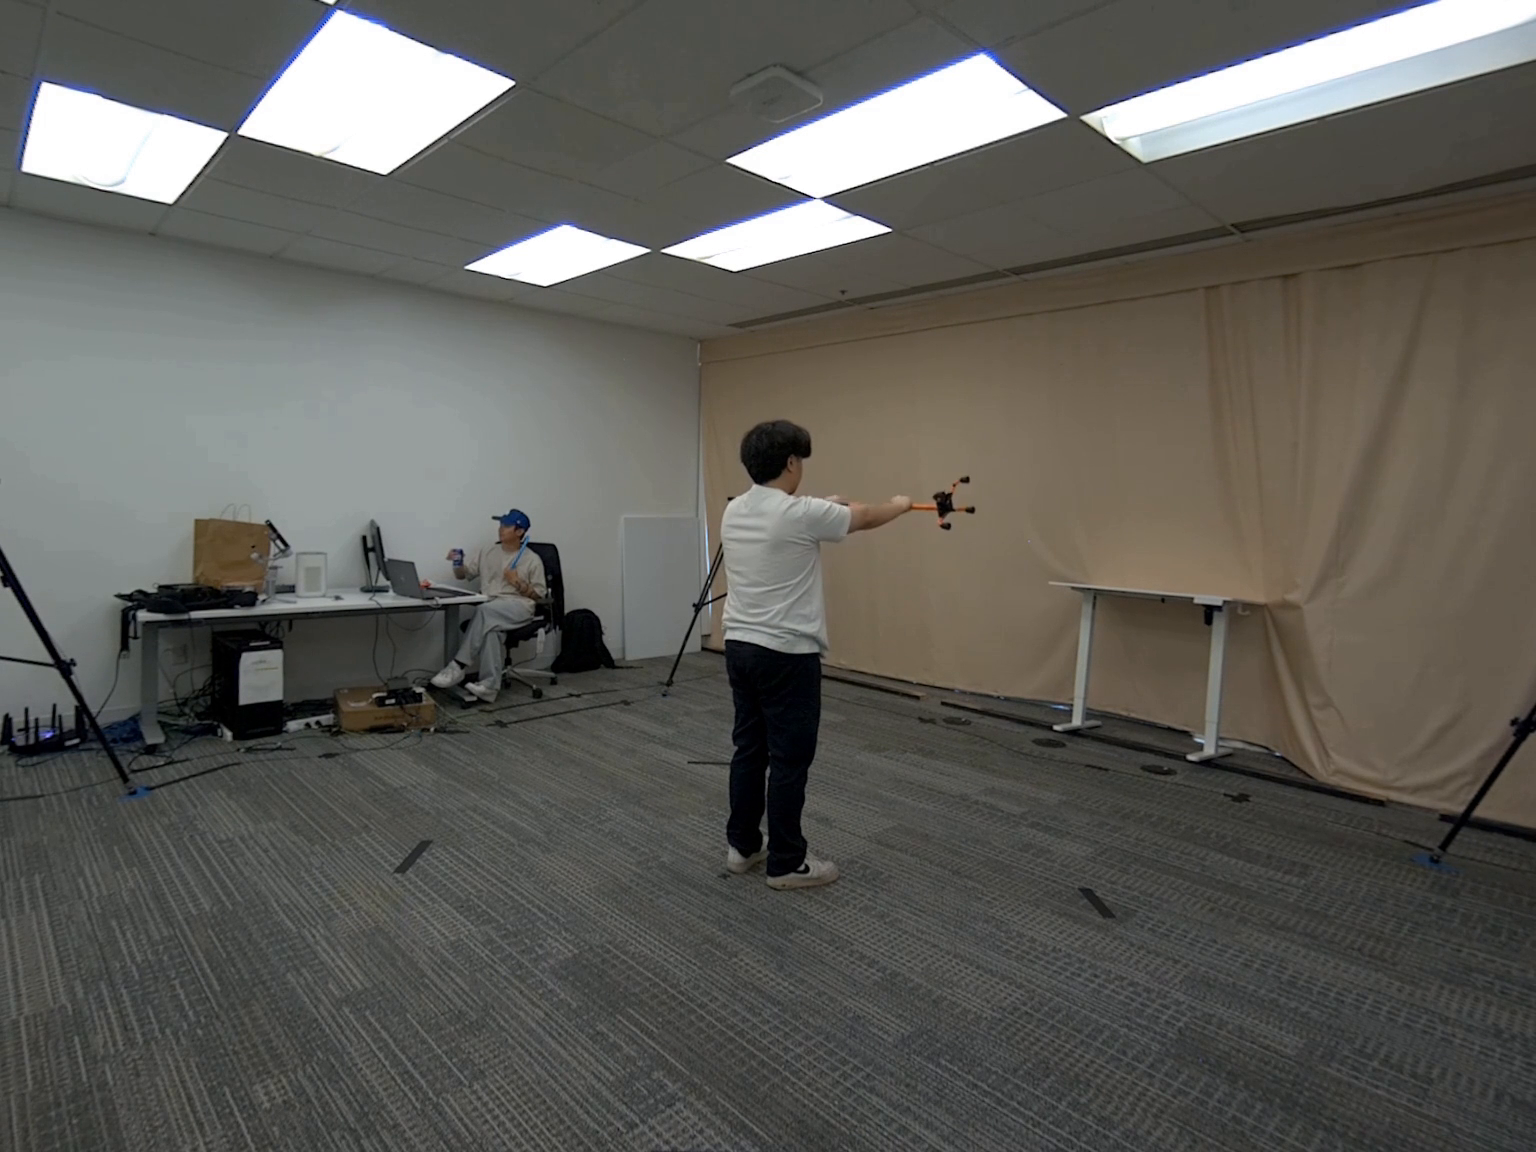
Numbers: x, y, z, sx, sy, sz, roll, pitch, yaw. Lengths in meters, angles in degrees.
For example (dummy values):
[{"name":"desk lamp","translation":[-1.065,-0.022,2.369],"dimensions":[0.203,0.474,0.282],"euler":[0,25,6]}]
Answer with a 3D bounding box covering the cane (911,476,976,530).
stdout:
[{"name":"cane","translation":[0.380,-0.303,3.493],"dimensions":[0.931,0.149,0.204],"euler":[5,27,45]}]
